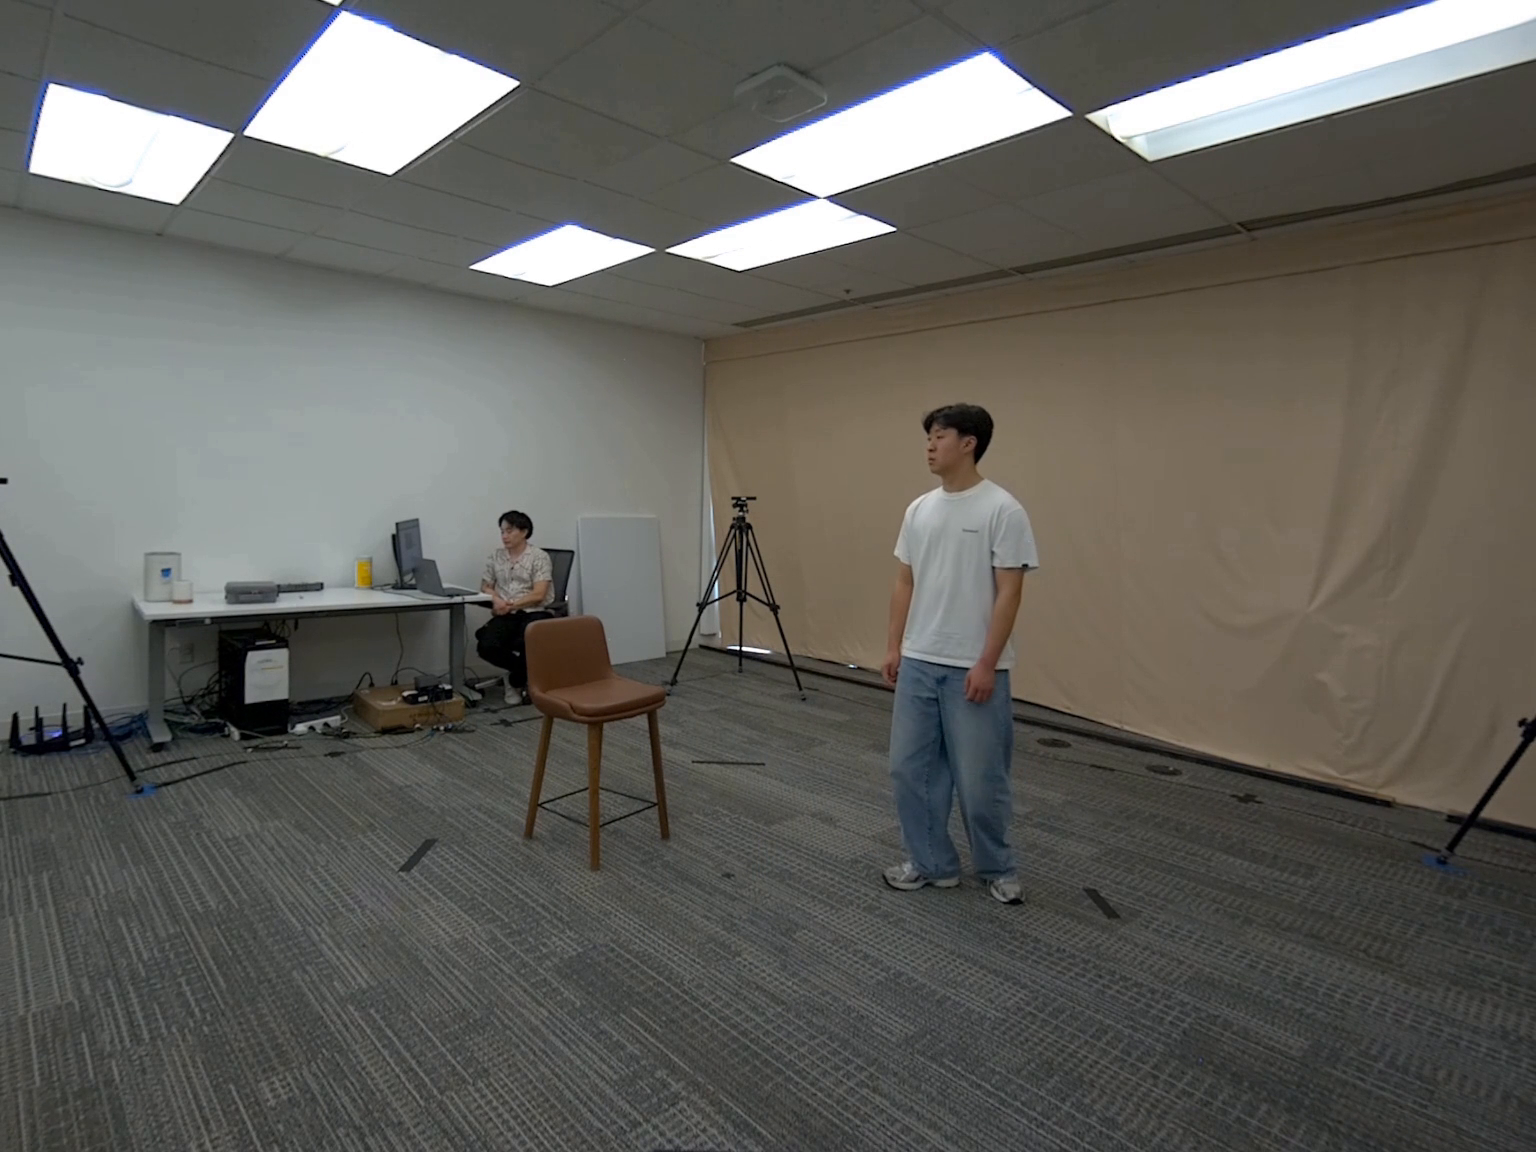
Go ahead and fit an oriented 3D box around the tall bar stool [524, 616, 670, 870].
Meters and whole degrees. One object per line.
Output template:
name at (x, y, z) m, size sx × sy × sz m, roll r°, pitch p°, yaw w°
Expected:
tall bar stool at (-0.695, 0.631, 3.394) m, size 0.479 × 0.889 × 0.446 m, roll 1°, pitch 2°, yaw 39°
